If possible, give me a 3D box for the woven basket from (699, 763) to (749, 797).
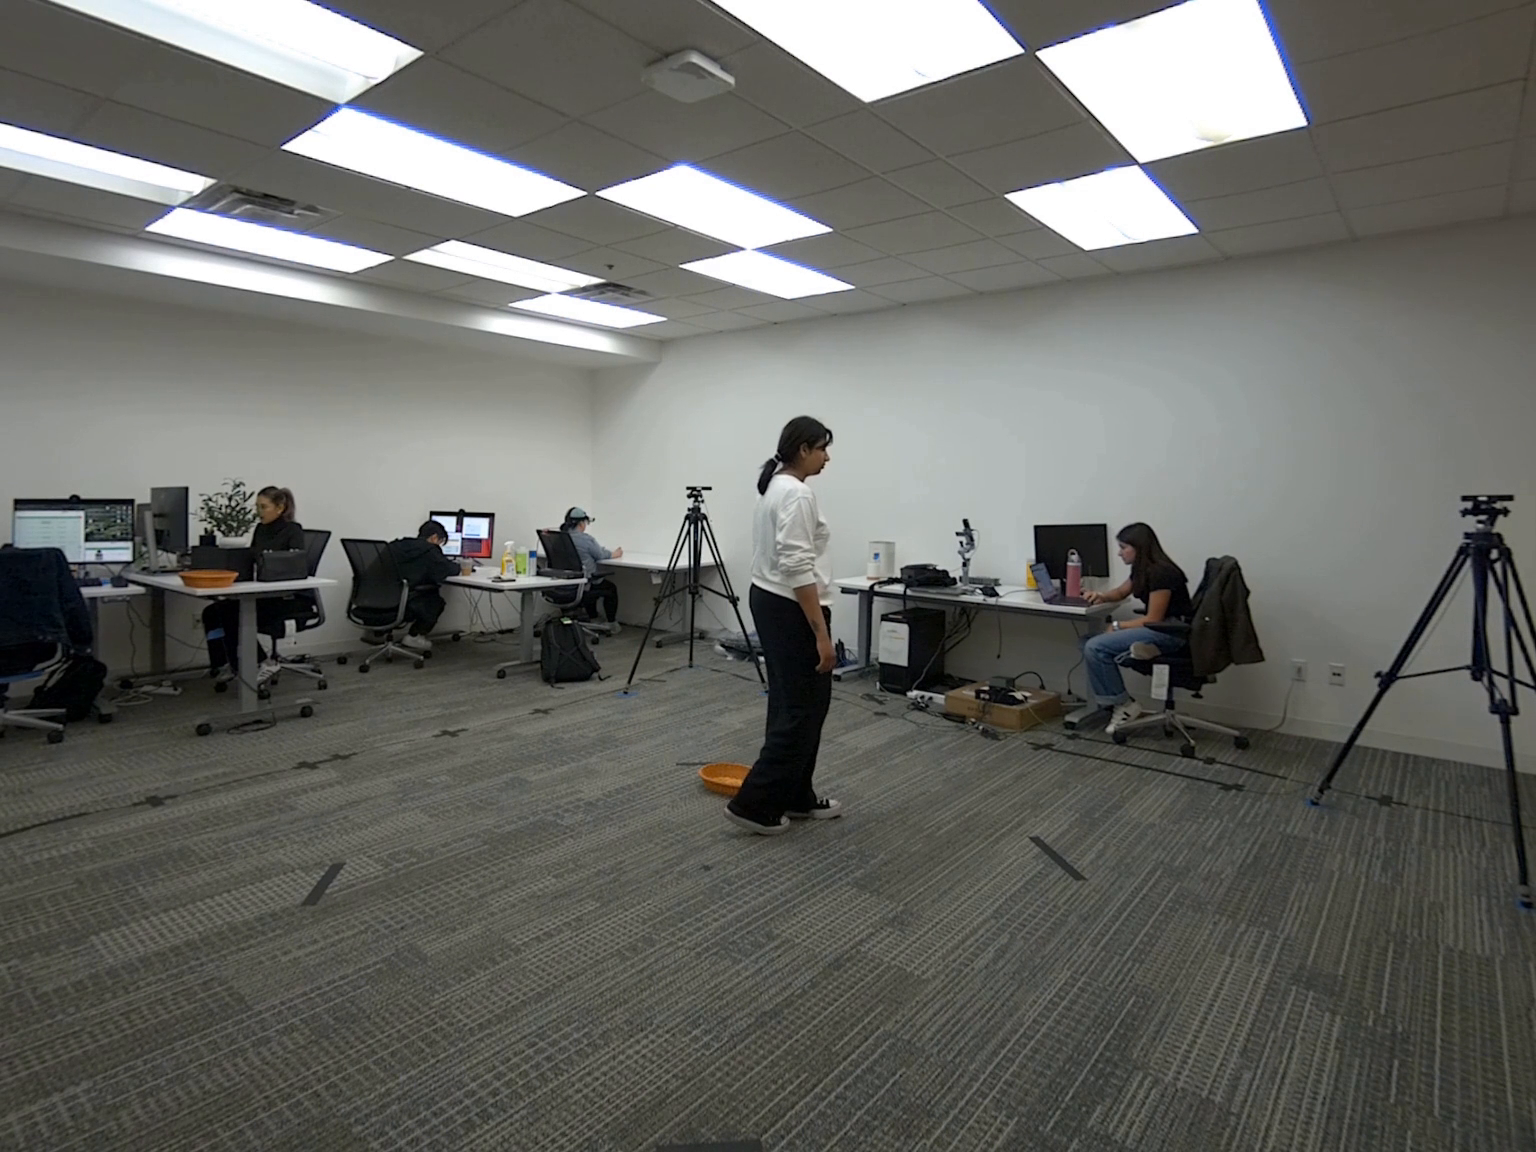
[{"bbox_3d":[-0.163,0.945,3.932,0.362,0.073,0.245,5,8,35],"label":"woven basket"}]
